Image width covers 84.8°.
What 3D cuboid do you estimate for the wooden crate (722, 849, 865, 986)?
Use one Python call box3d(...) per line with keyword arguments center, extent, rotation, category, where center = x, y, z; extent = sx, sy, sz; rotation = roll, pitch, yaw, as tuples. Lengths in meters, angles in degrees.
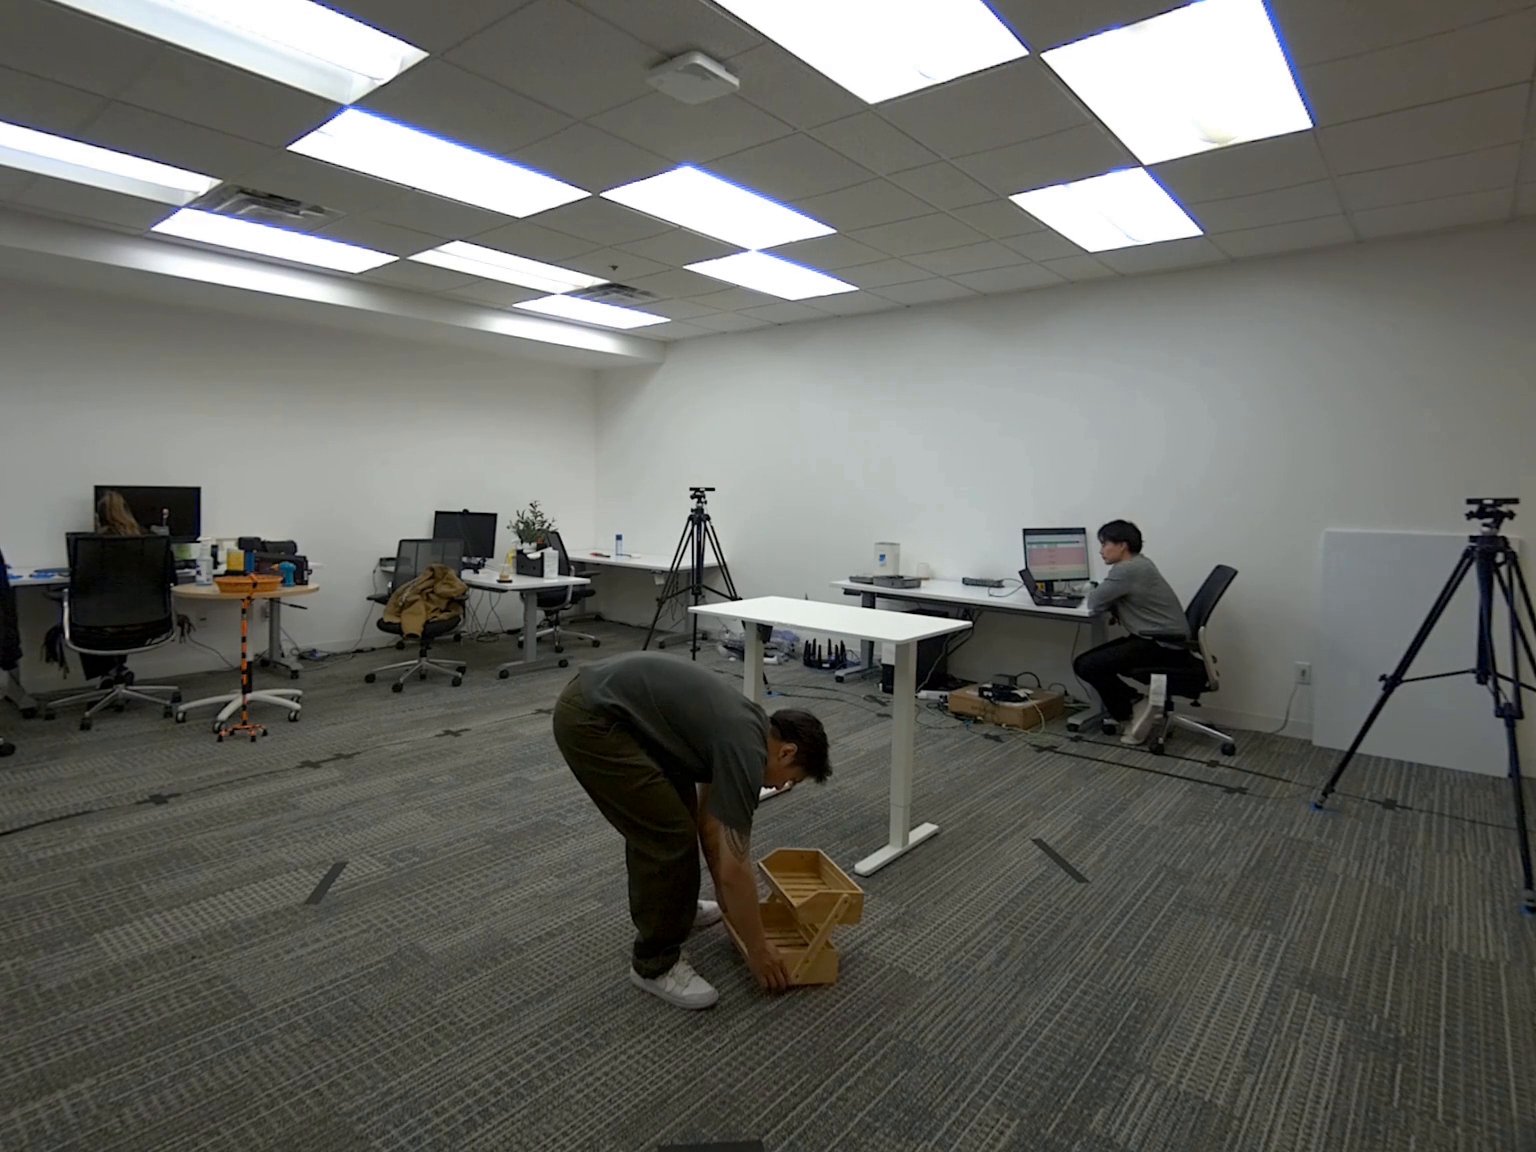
box3d(center=(0.072, 1.003, 2.499), extent=(0.295, 0.273, 0.333), rotation=(6, 3, -22), category="wooden crate")
